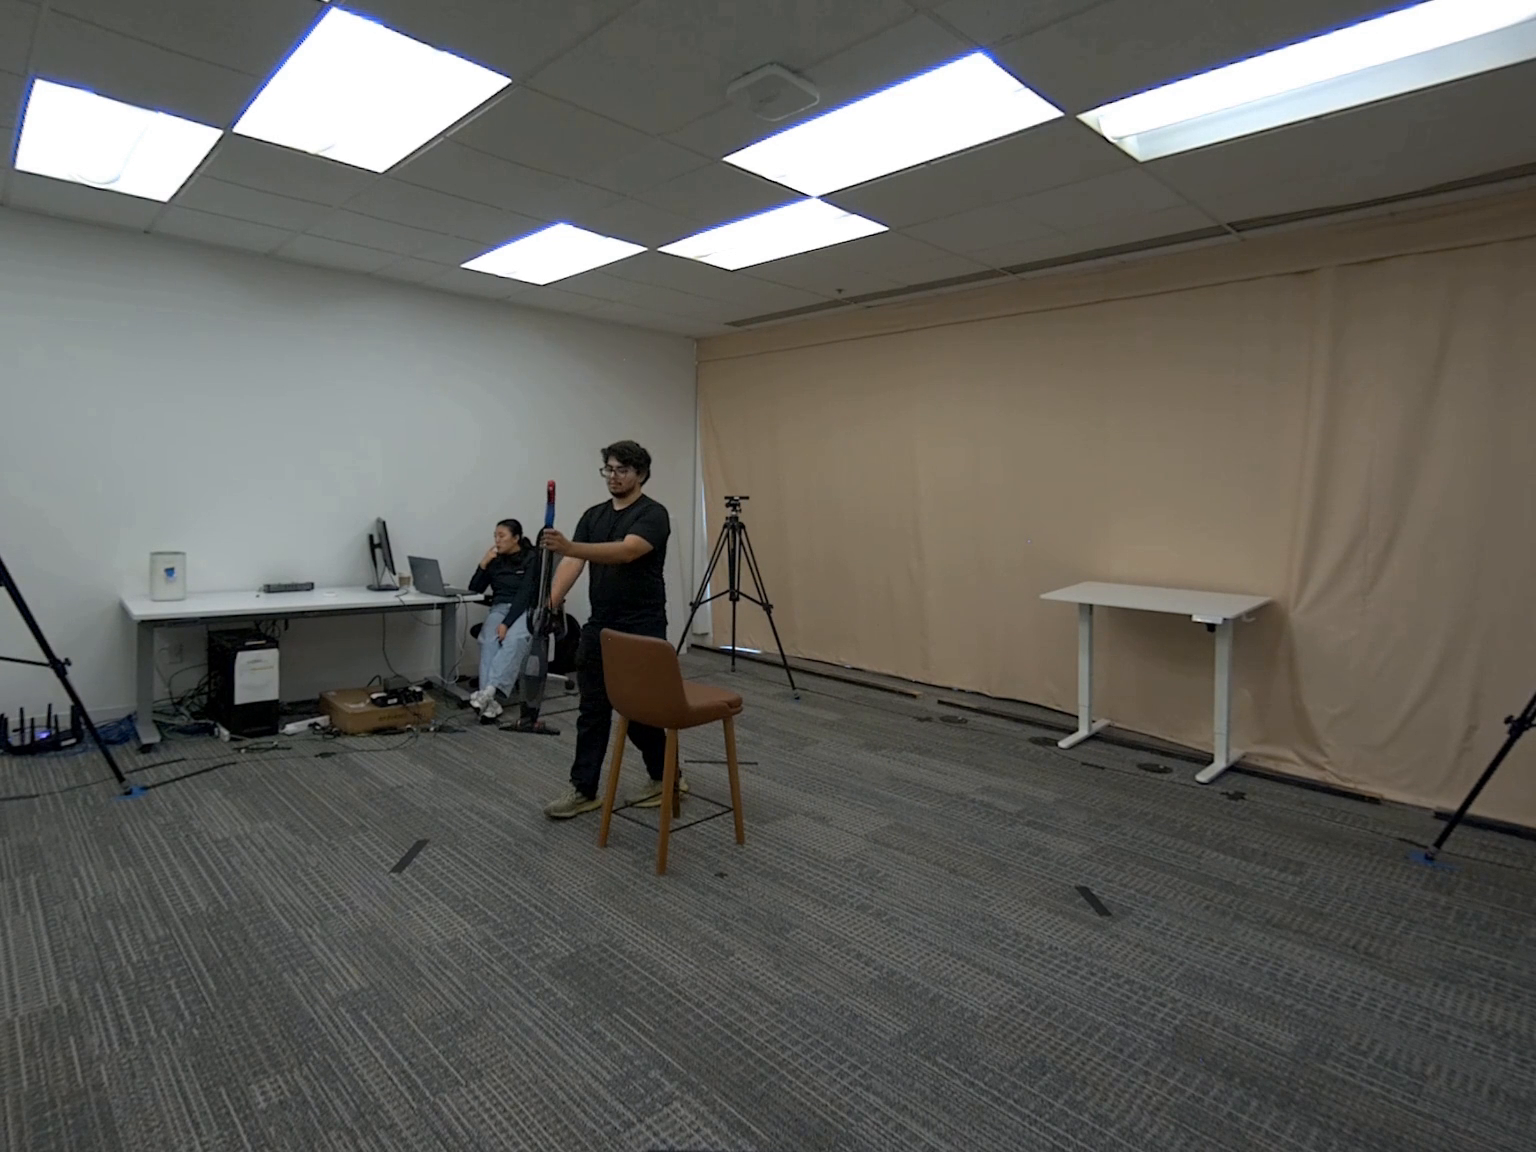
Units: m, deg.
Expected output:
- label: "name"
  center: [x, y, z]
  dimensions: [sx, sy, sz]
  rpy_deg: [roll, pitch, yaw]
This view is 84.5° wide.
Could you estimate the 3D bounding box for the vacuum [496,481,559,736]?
- label: "vacuum"
  center: [-0.925, 0.137, 3.345]
  dimensions: [0.255, 1.040, 0.144]
  rpy_deg: [11, 15, 8]
